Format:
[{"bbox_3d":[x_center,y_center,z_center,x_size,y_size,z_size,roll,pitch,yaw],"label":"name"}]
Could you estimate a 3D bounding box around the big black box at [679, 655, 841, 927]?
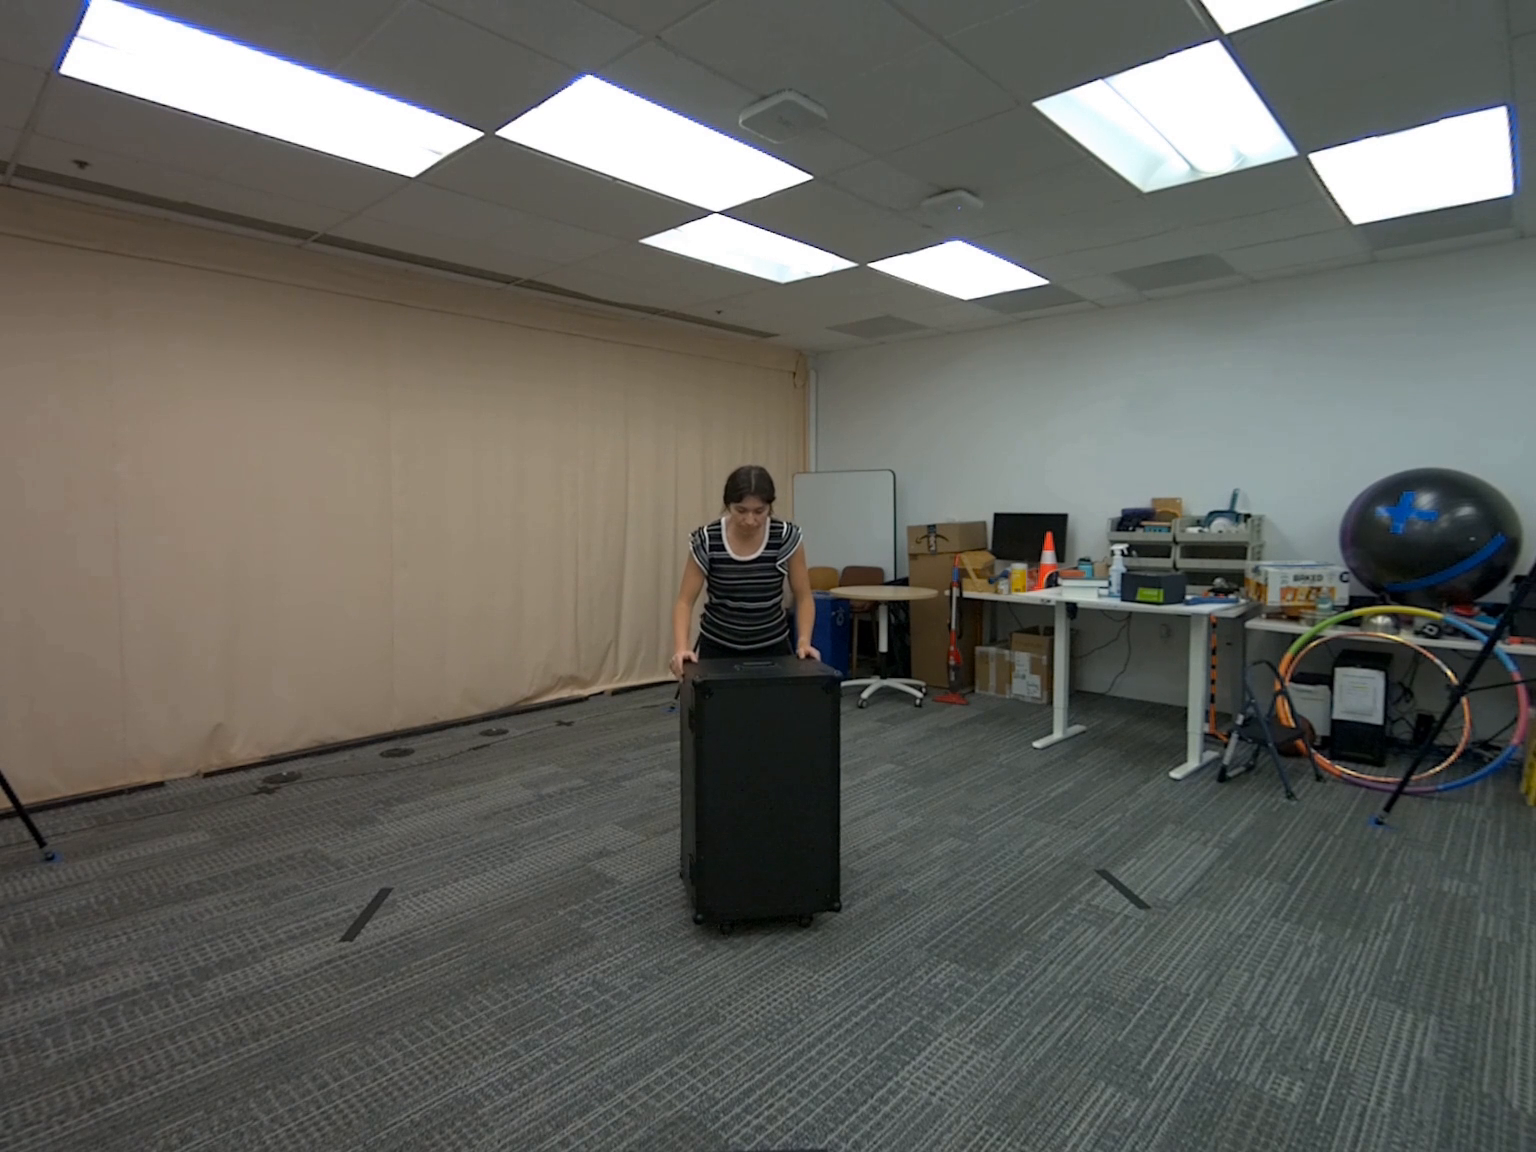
[{"bbox_3d":[-0.039,0.729,2.871,0.515,0.860,0.401,-1,3,-11],"label":"big black box"}]
